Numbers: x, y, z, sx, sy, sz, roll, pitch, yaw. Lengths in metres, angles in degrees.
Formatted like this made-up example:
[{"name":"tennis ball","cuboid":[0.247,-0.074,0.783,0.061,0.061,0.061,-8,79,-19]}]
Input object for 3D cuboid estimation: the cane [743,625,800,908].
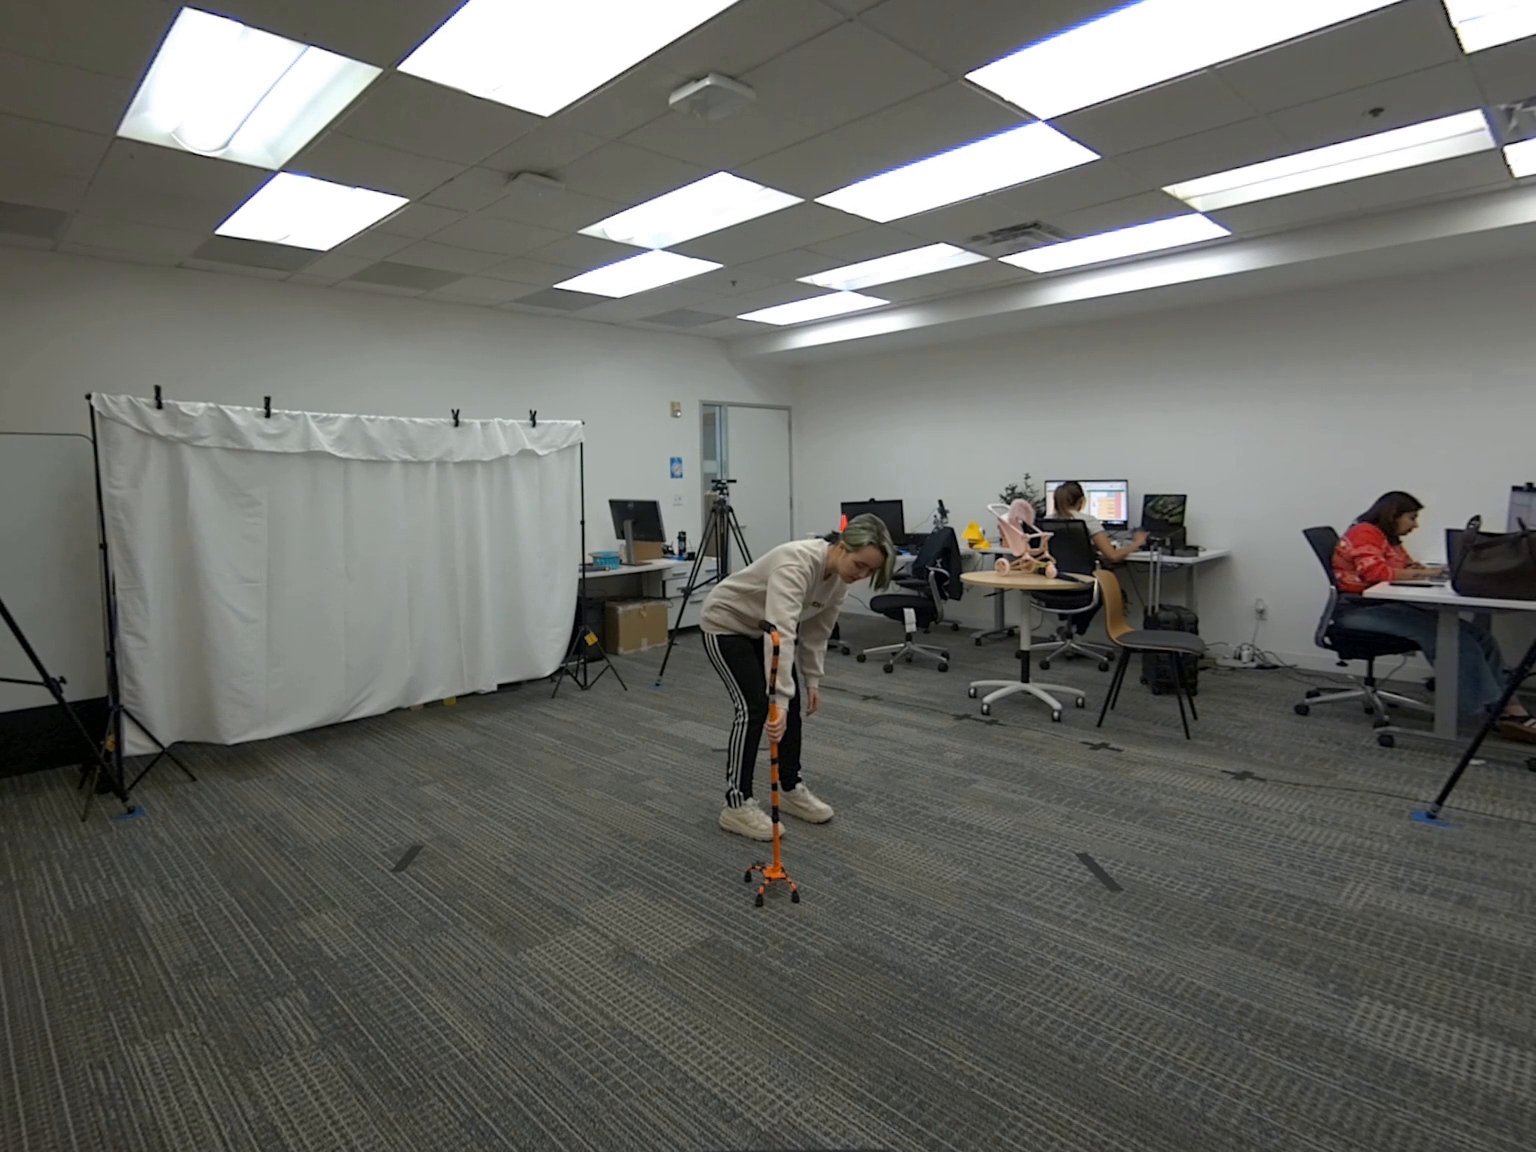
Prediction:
[{"name":"cane","cuboid":[0.014,0.627,2.870,0.150,0.904,0.209,-1,5,-12]}]
